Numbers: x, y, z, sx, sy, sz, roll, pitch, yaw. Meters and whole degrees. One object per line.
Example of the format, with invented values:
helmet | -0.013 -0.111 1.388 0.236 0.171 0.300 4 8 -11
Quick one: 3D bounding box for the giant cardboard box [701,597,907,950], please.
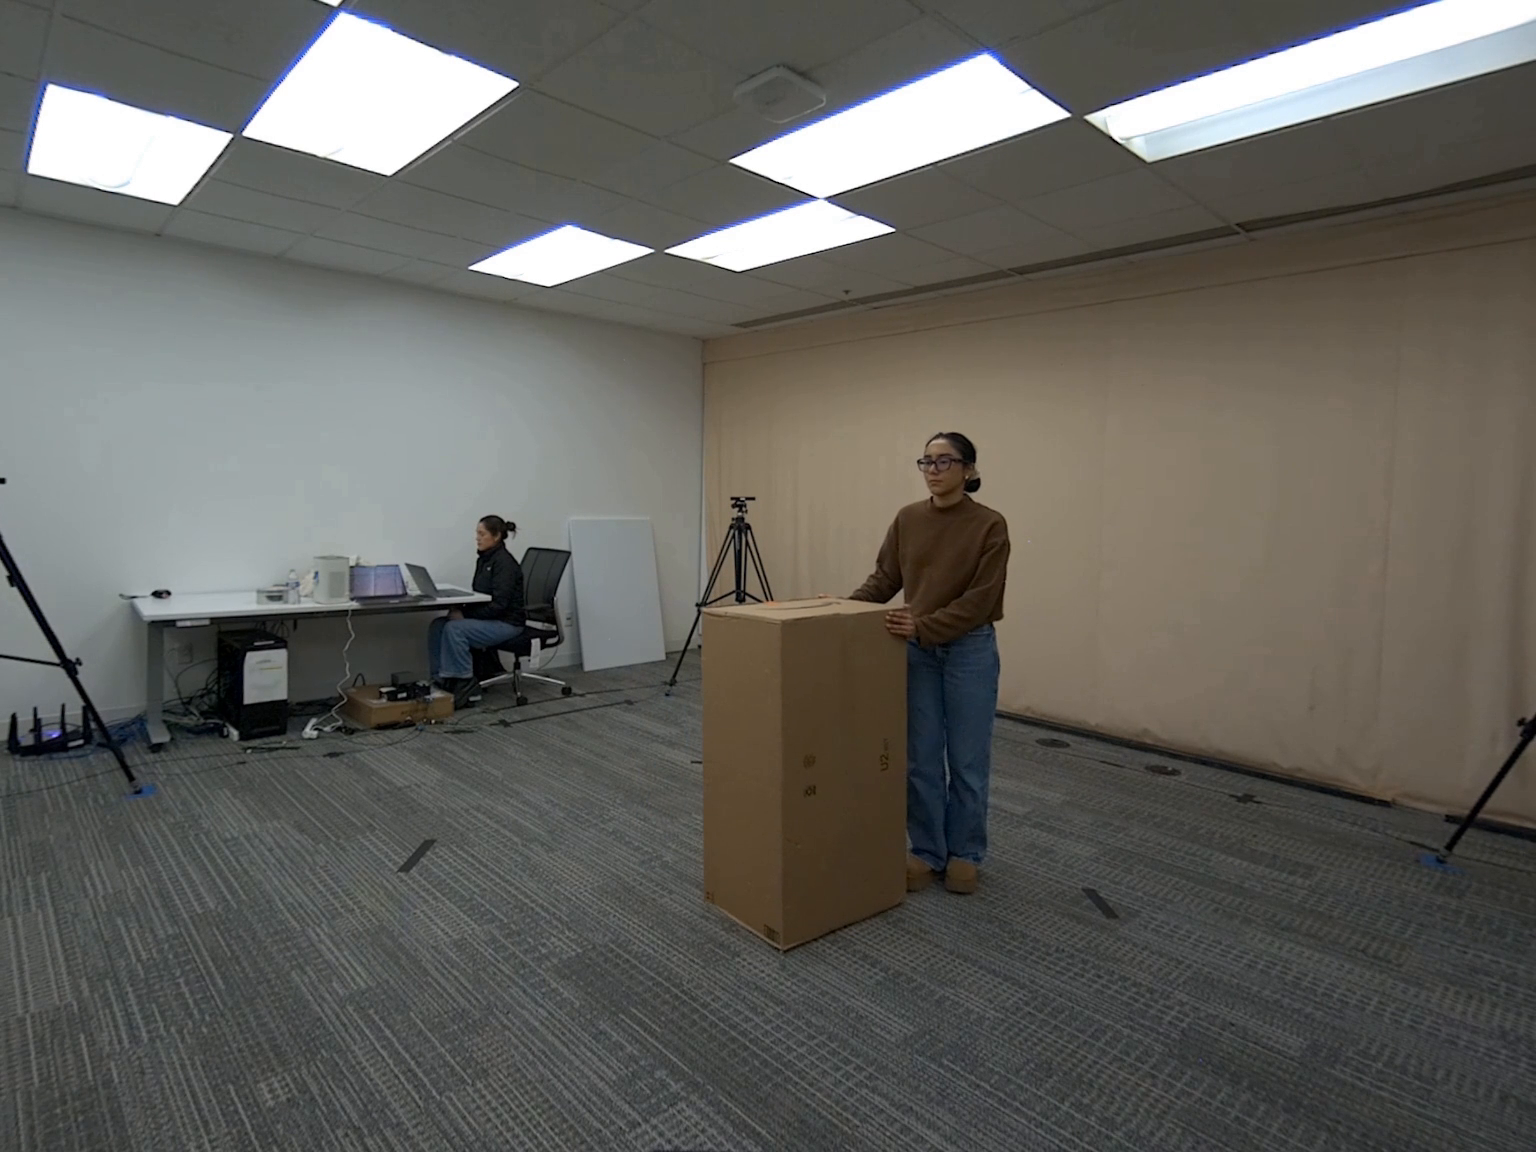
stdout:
giant cardboard box | 0.118 0.621 2.890 0.565 1.024 0.436 -2 3 -38
